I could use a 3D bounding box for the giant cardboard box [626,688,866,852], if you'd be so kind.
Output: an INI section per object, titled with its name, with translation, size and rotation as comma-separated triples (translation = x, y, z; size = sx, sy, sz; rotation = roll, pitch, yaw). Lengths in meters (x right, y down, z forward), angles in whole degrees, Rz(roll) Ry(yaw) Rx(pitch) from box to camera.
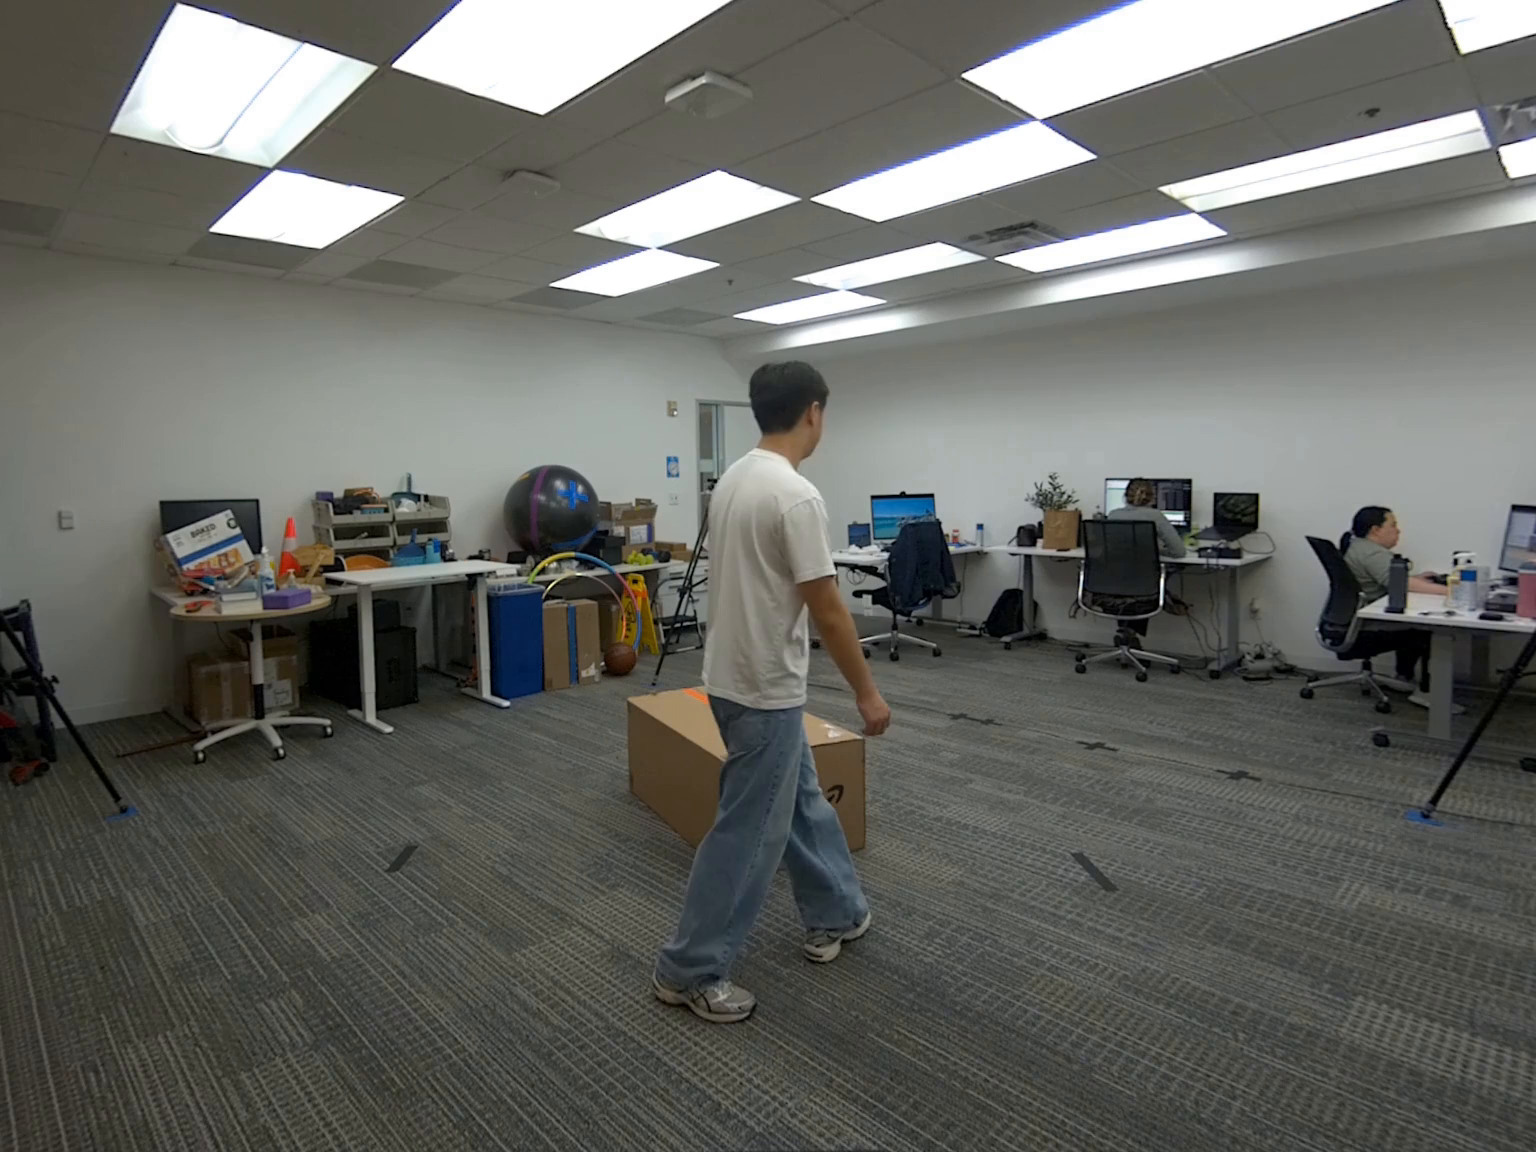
[giant cardboard box]
translation = -0.135, 0.786, 3.525
size = 0.564, 0.424, 1.054
rotation = -3, 6, -29
